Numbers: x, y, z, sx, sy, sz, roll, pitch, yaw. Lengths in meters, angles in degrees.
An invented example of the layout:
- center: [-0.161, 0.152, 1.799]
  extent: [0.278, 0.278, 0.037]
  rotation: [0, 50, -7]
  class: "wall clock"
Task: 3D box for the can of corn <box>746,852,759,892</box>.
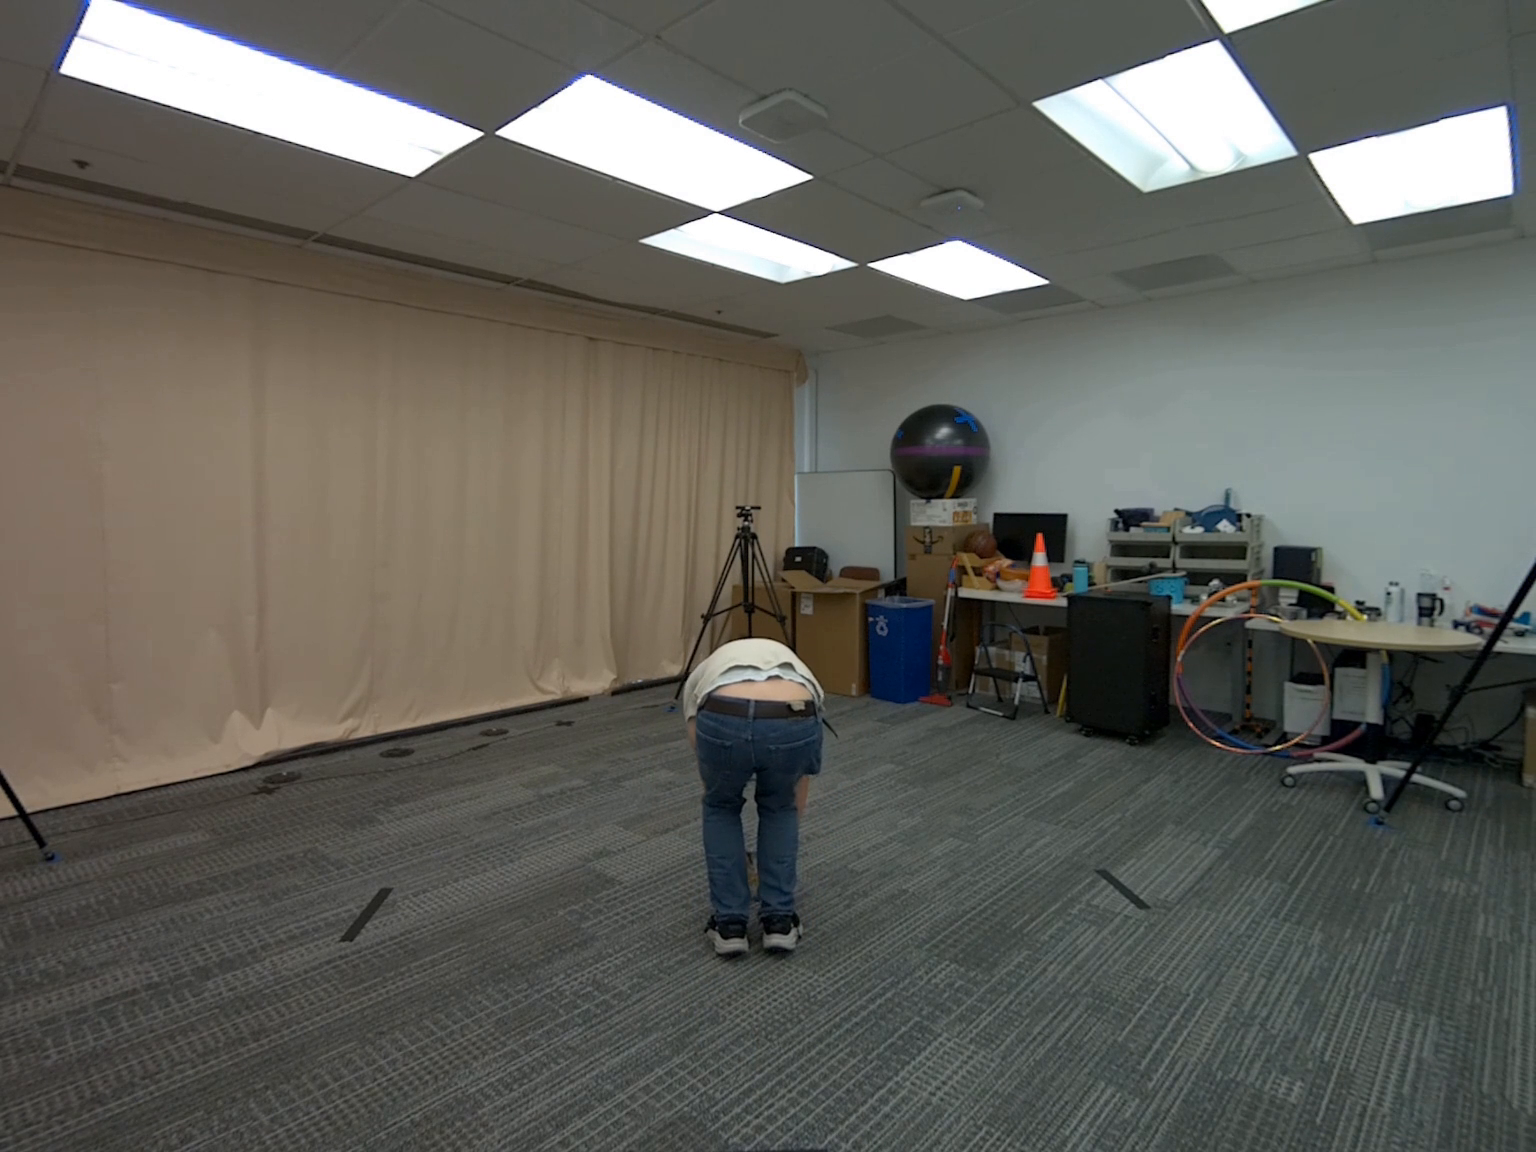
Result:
- center: [-0.028, 1.052, 2.954]
  extent: [0.074, 0.111, 0.074]
  rotation: [-4, 5, -1]
  class: "can of corn"
